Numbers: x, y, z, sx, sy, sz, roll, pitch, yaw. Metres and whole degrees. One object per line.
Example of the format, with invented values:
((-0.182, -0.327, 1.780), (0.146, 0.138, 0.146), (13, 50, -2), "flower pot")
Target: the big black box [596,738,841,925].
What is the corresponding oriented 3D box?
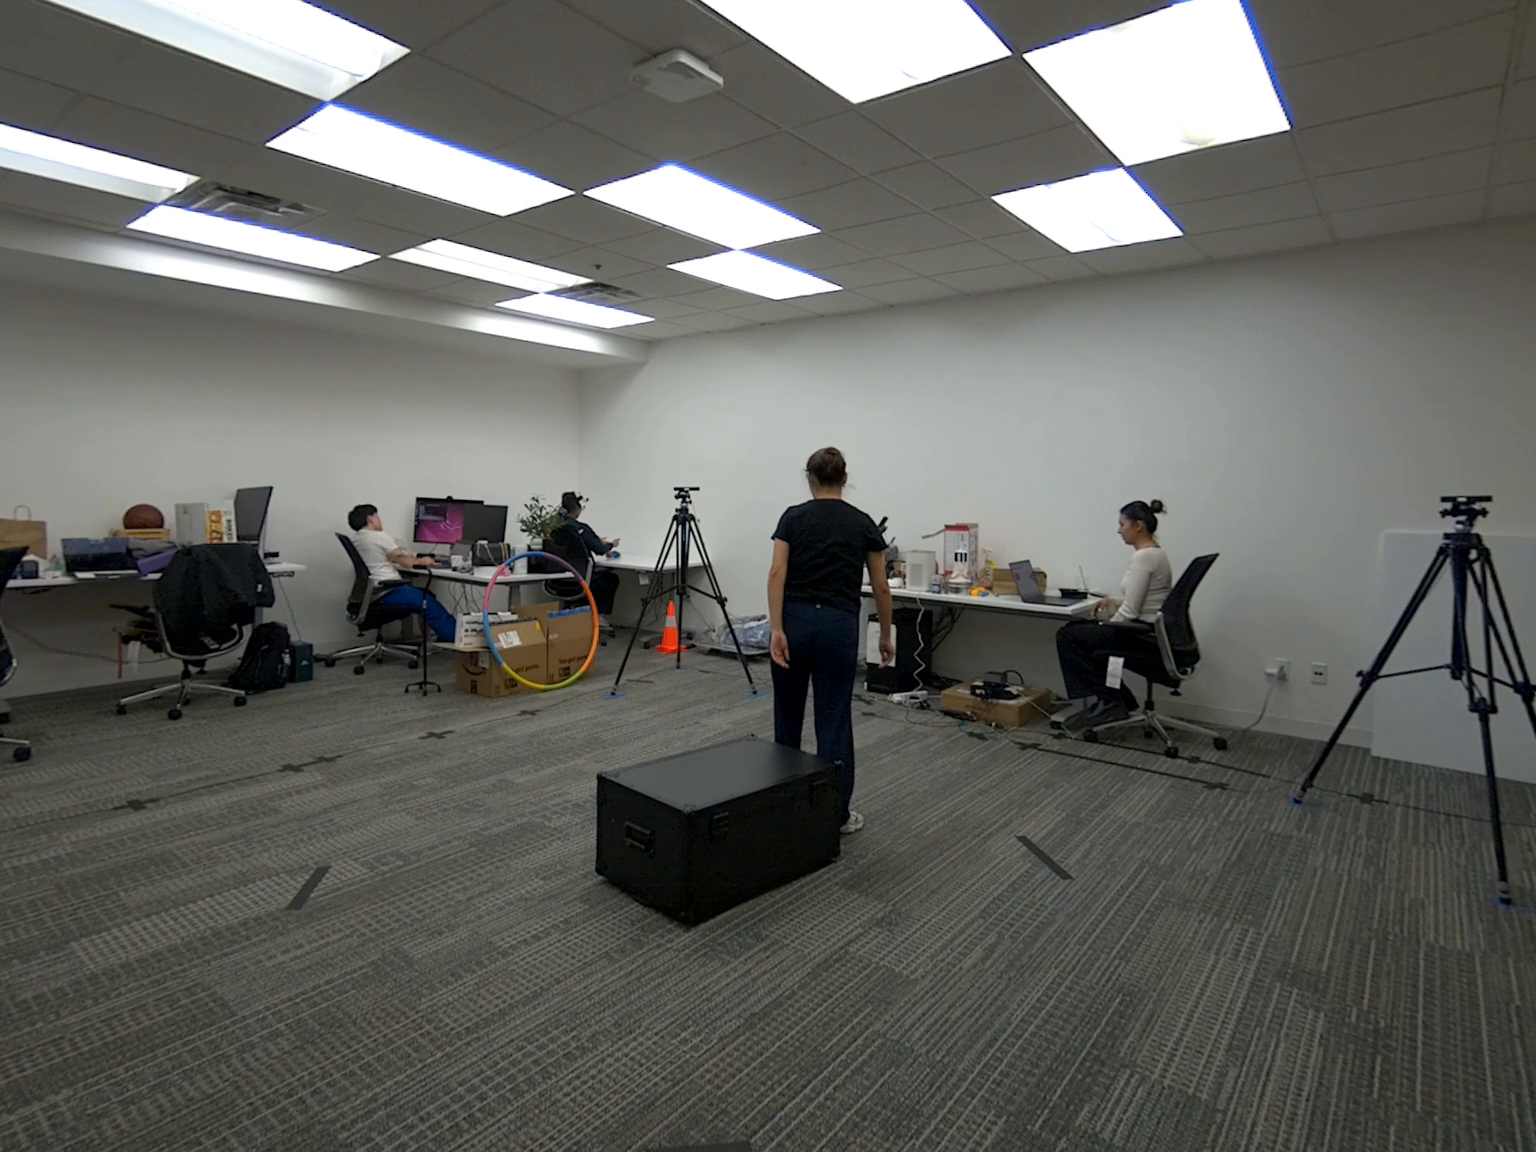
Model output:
((-0.173, 0.879, 3.083), (0.835, 0.395, 0.539), (-3, 5, -45), "big black box")
